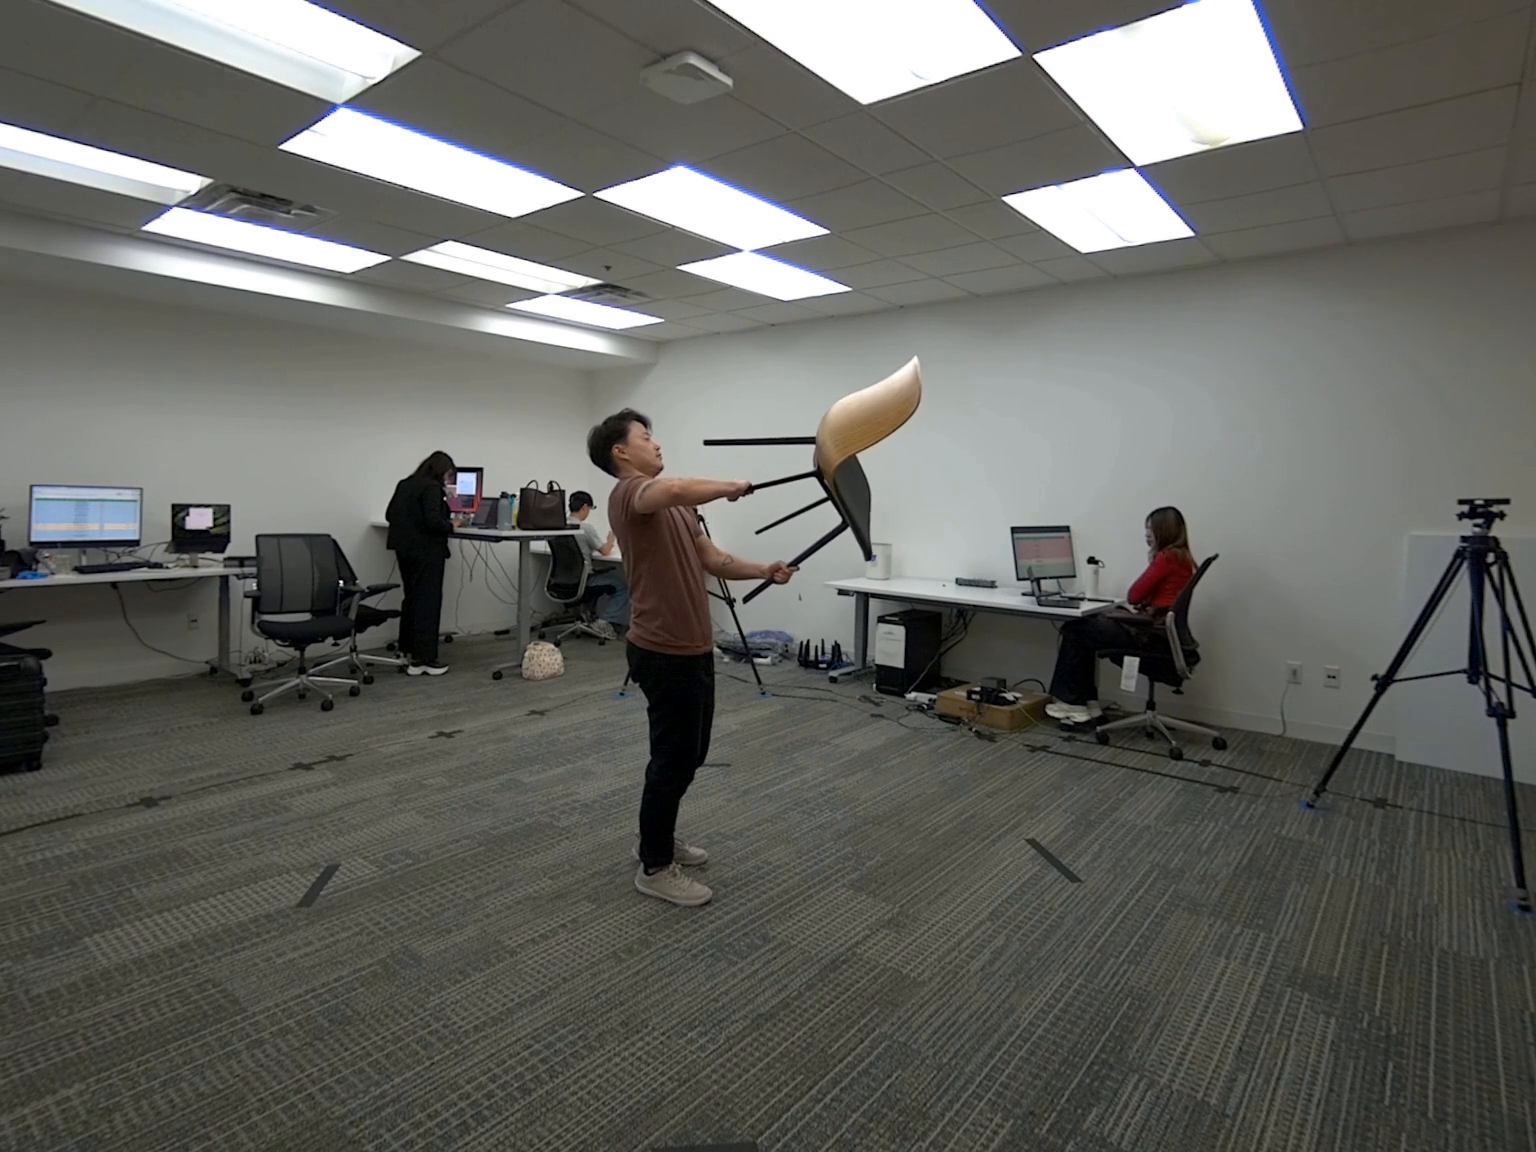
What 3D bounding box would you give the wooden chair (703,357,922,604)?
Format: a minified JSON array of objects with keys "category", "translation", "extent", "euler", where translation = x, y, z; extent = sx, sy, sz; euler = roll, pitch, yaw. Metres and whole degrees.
[{"category":"wooden chair","translation":[0.220,-0.319,2.930],"extent":[0.888,0.507,0.487],"euler":[-23,28,22]}]
